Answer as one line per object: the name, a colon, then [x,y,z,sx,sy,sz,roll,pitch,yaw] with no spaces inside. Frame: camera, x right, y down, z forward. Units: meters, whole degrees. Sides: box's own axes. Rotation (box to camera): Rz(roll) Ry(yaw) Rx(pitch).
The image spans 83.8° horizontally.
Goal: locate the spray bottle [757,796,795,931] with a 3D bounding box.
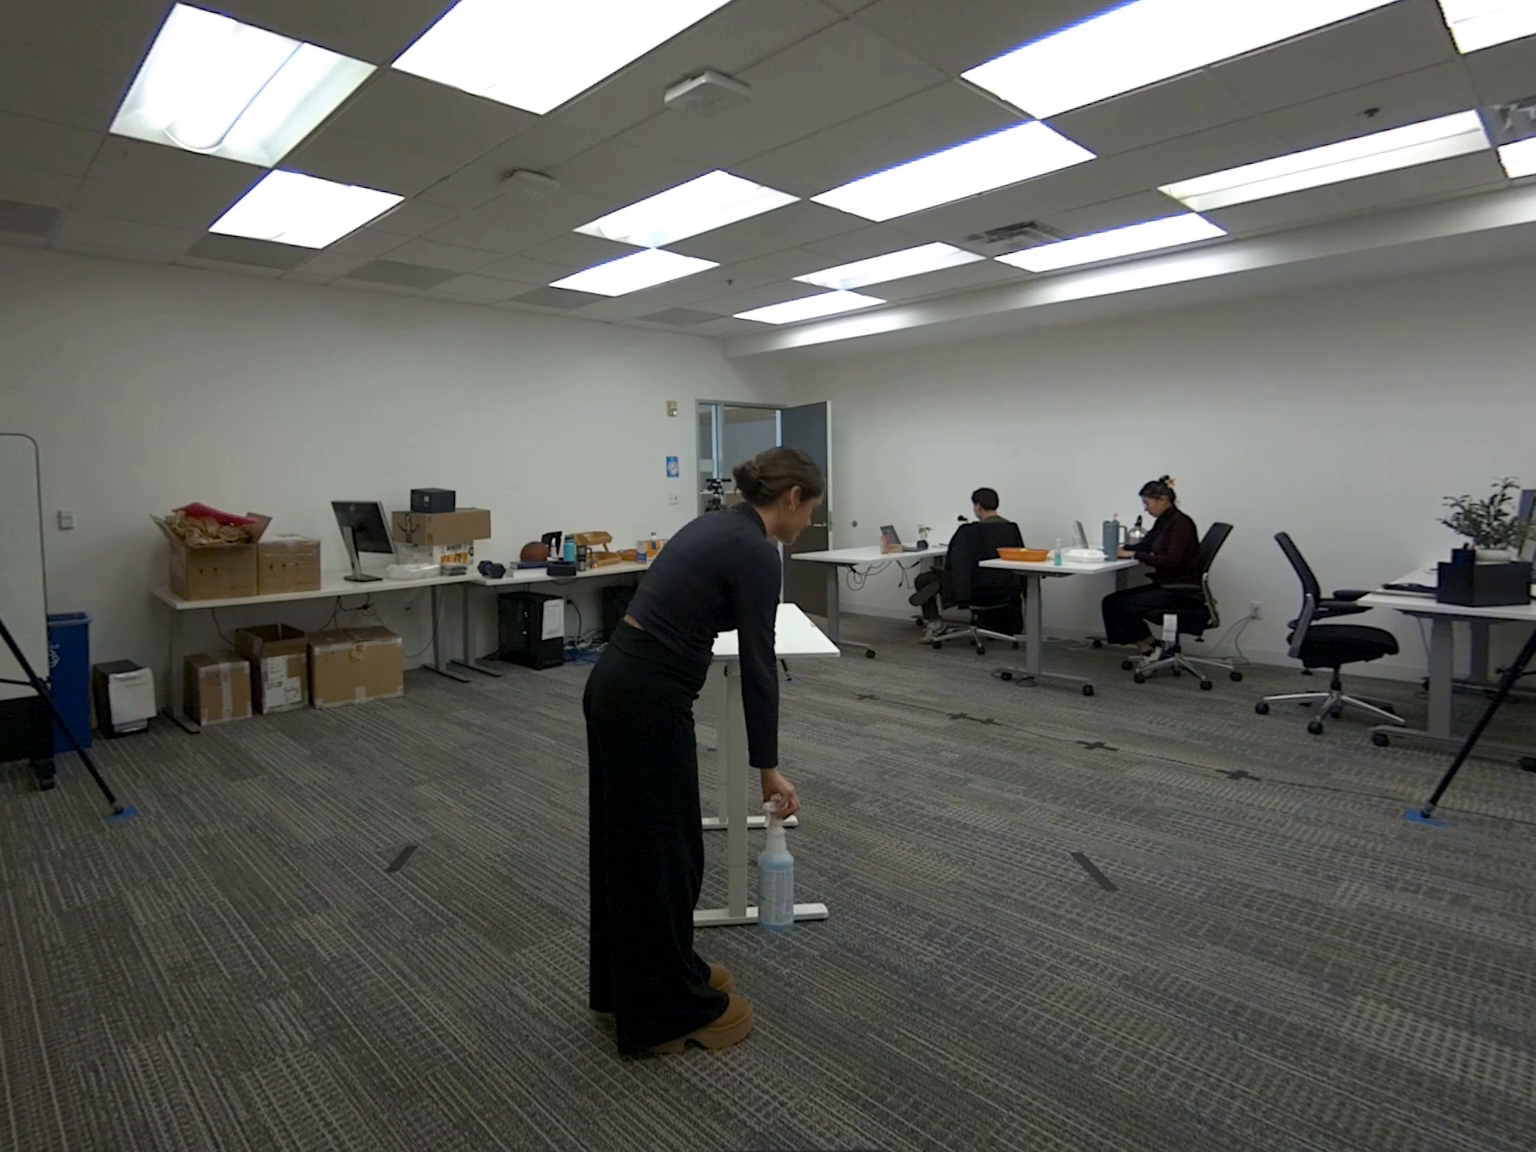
spray bottle: [0.019,0.692,2.055,0.088,0.297,0.089,-2,1,-33]
